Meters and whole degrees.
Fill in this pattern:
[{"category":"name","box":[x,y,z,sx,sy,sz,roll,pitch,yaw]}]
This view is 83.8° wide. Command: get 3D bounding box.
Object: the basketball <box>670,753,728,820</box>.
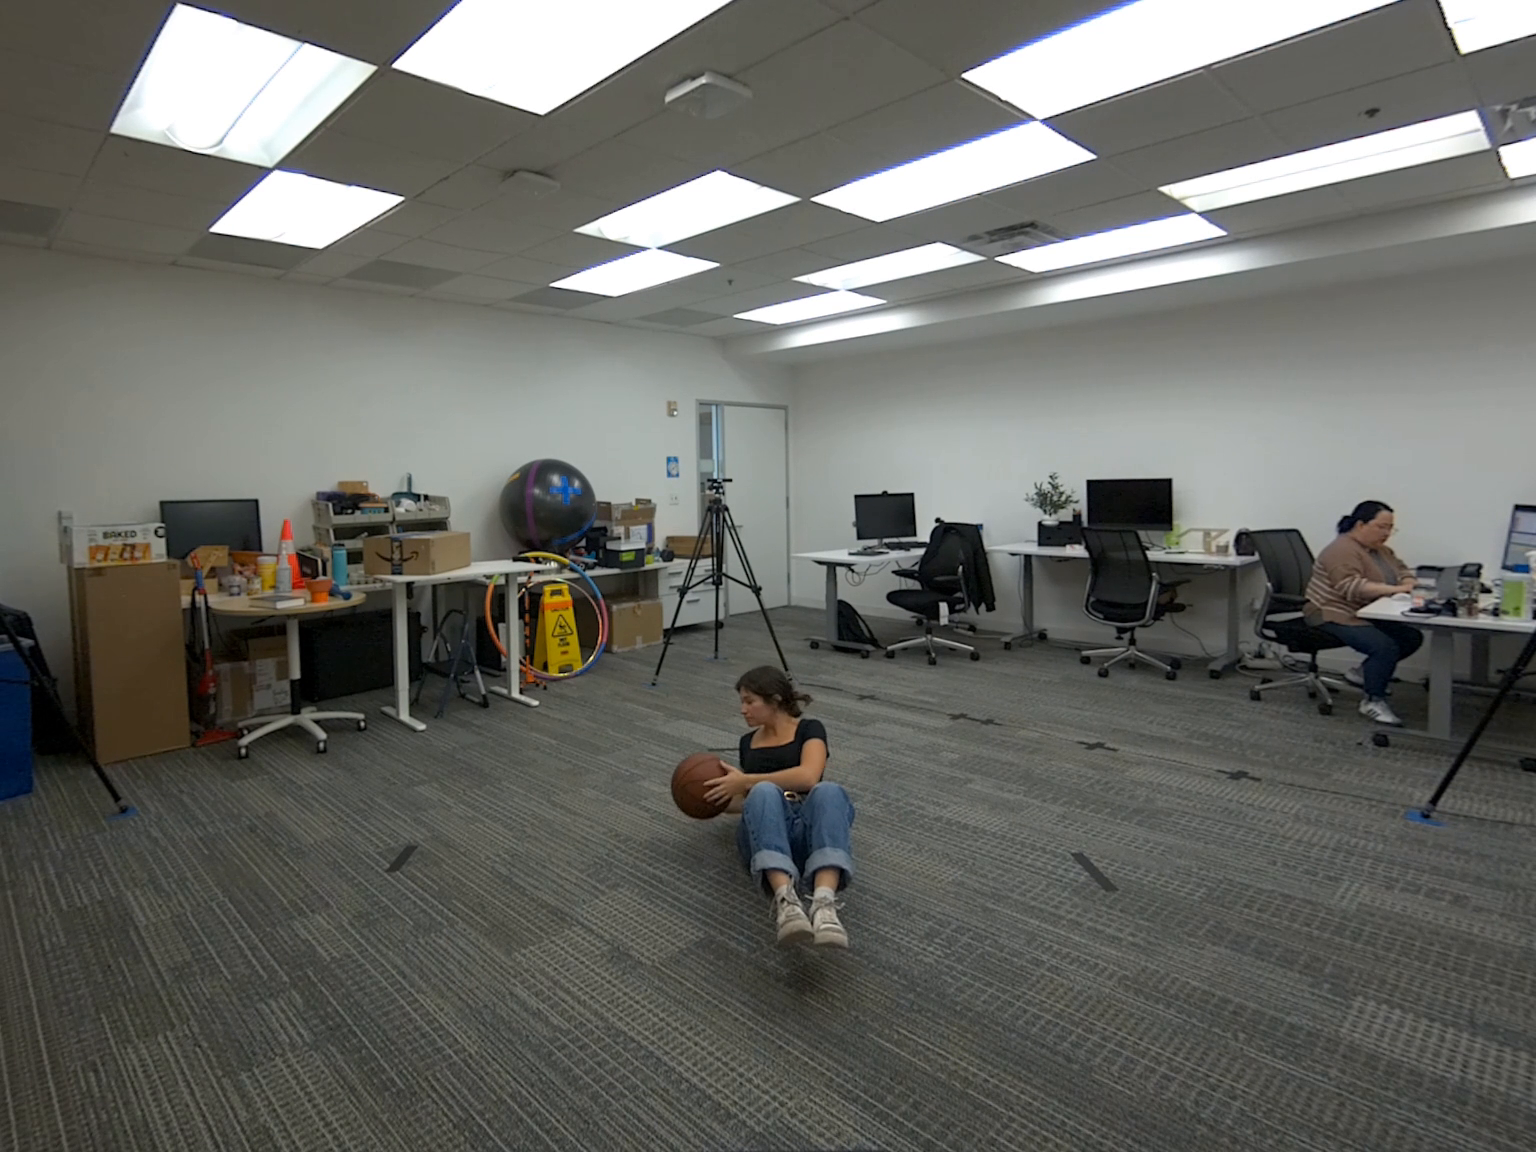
[{"category":"basketball","box":[-0.231,0.780,3.183,0.236,0.235,0.237,-1,5,-2]}]
